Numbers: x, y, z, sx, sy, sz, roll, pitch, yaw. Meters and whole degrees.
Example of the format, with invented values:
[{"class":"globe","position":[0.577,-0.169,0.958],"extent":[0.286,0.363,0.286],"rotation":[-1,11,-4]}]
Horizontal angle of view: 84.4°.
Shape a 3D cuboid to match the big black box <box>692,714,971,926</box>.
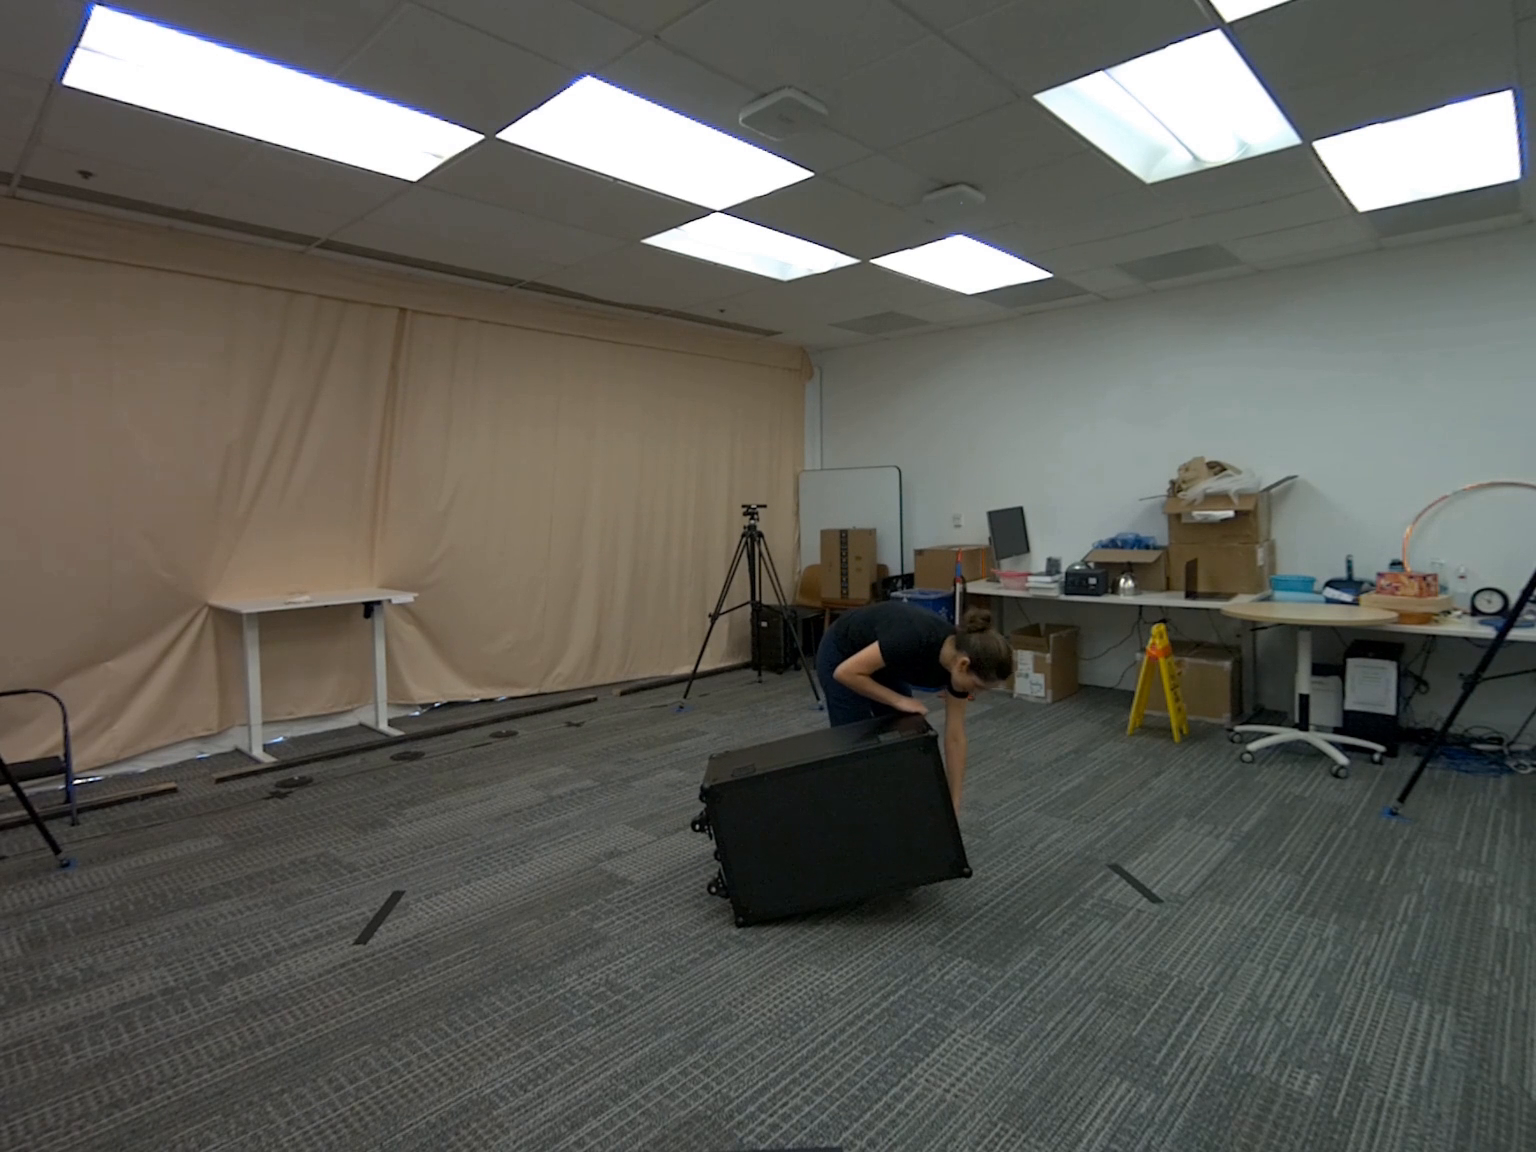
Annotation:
[{"class":"big black box","position":[0.201,0.813,2.922],"extent":[0.864,0.521,0.395],"rotation":[-14,1,3]}]
